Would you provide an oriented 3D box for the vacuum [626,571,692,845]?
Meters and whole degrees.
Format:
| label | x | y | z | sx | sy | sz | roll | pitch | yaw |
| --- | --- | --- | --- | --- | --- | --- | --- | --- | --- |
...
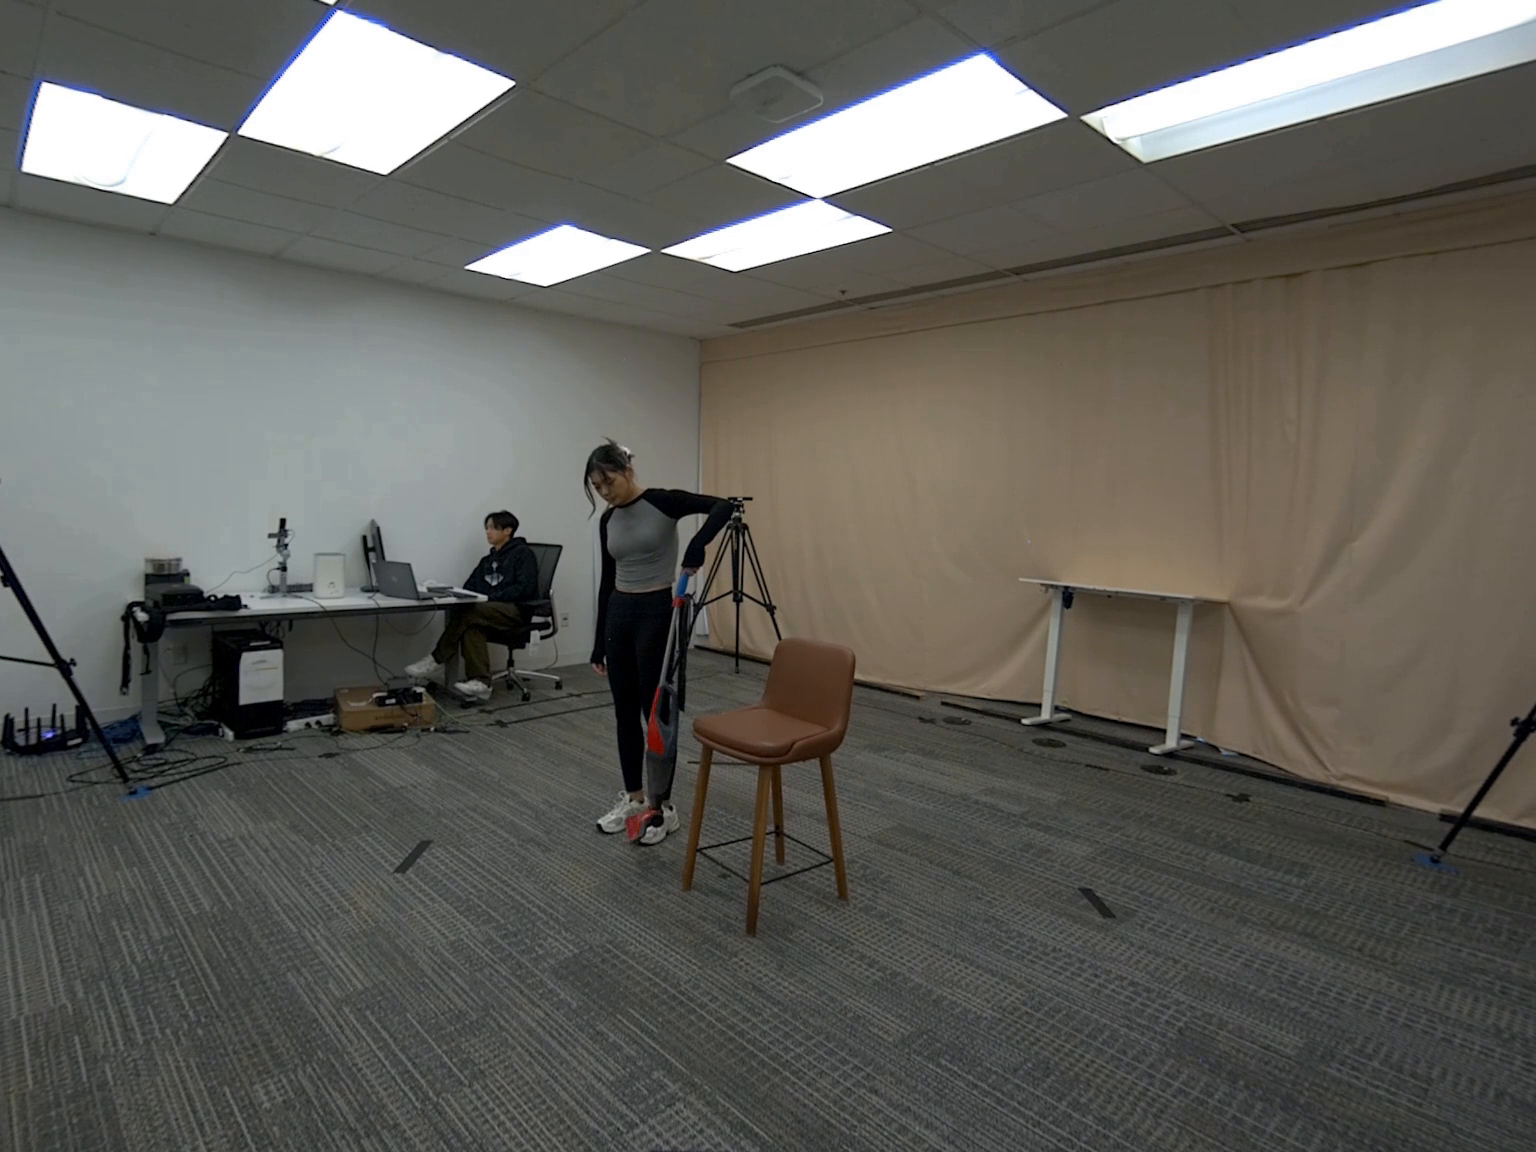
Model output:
| label | x | y | z | sx | sy | sz | roll | pitch | yaw |
| --- | --- | --- | --- | --- | --- | --- | --- | --- | --- |
| vacuum | -0.365 | 0.410 | 3.190 | 0.141 | 1.052 | 0.256 | 13 | -5 | -21 |
